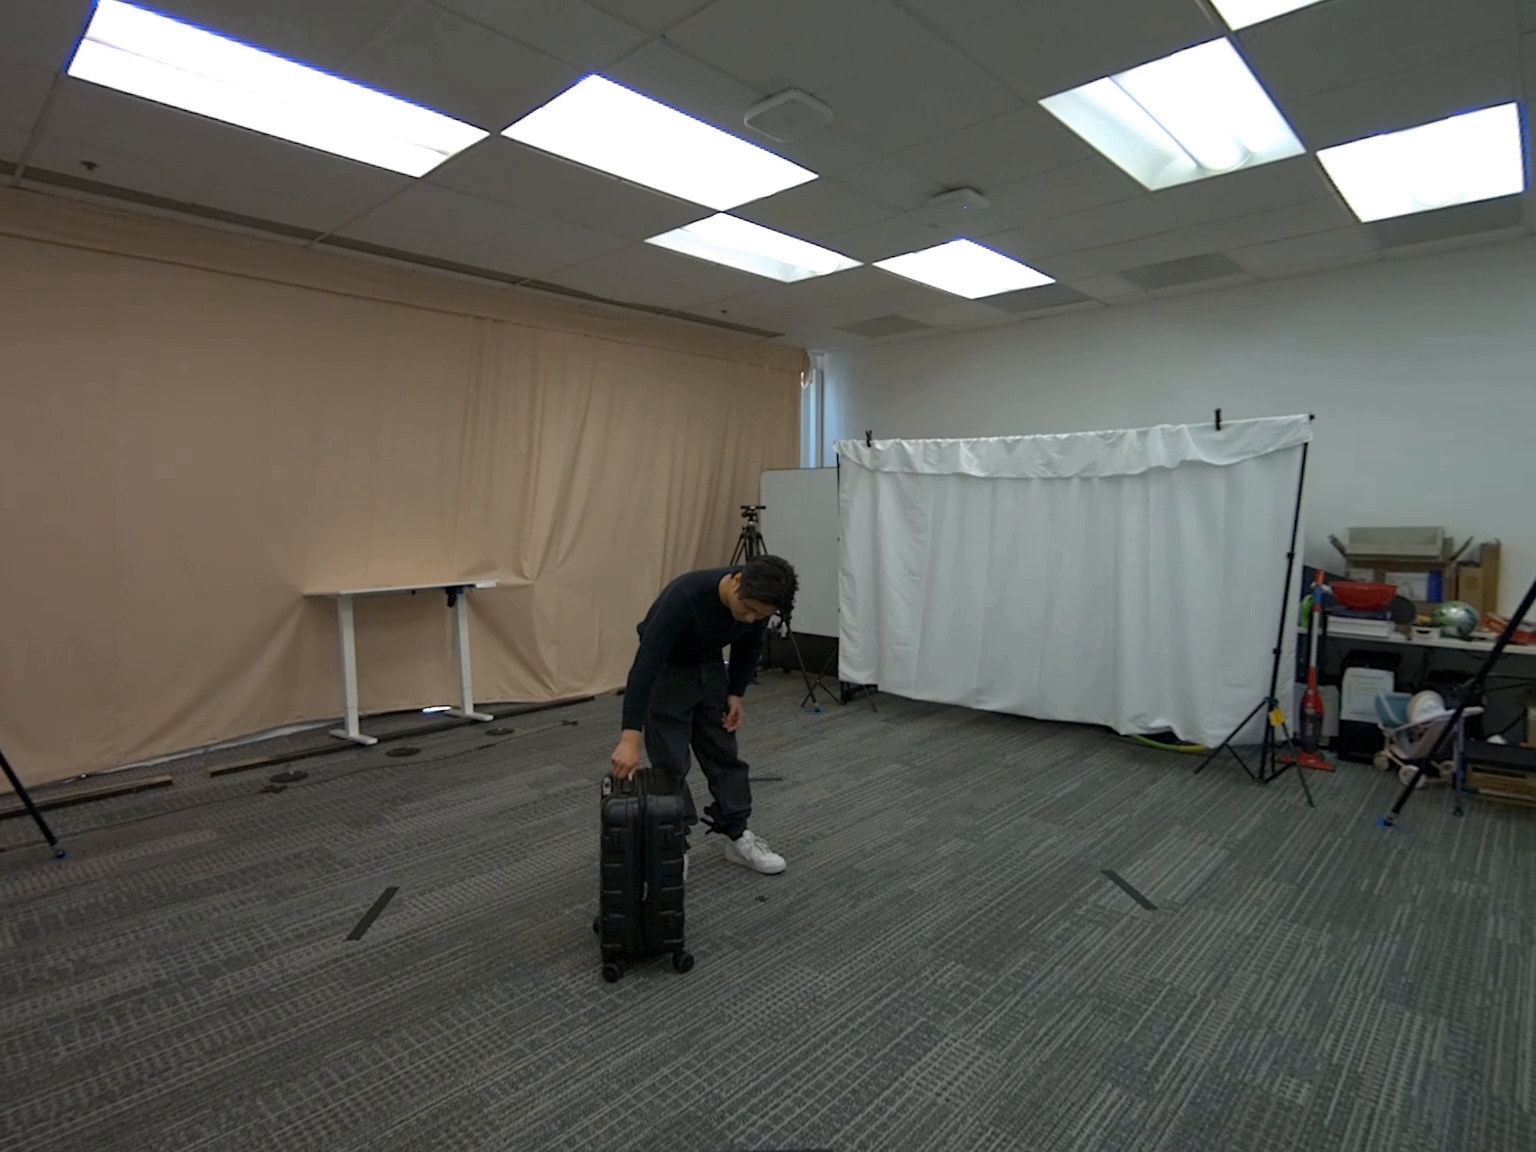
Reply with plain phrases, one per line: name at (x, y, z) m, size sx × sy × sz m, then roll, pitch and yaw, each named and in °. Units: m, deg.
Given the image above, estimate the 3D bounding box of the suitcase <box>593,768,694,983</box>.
suitcase at (-0.401, 0.896, 2.635) m, size 0.245 × 0.548 × 0.381 m, roll 0°, pitch 4°, yaw -12°
